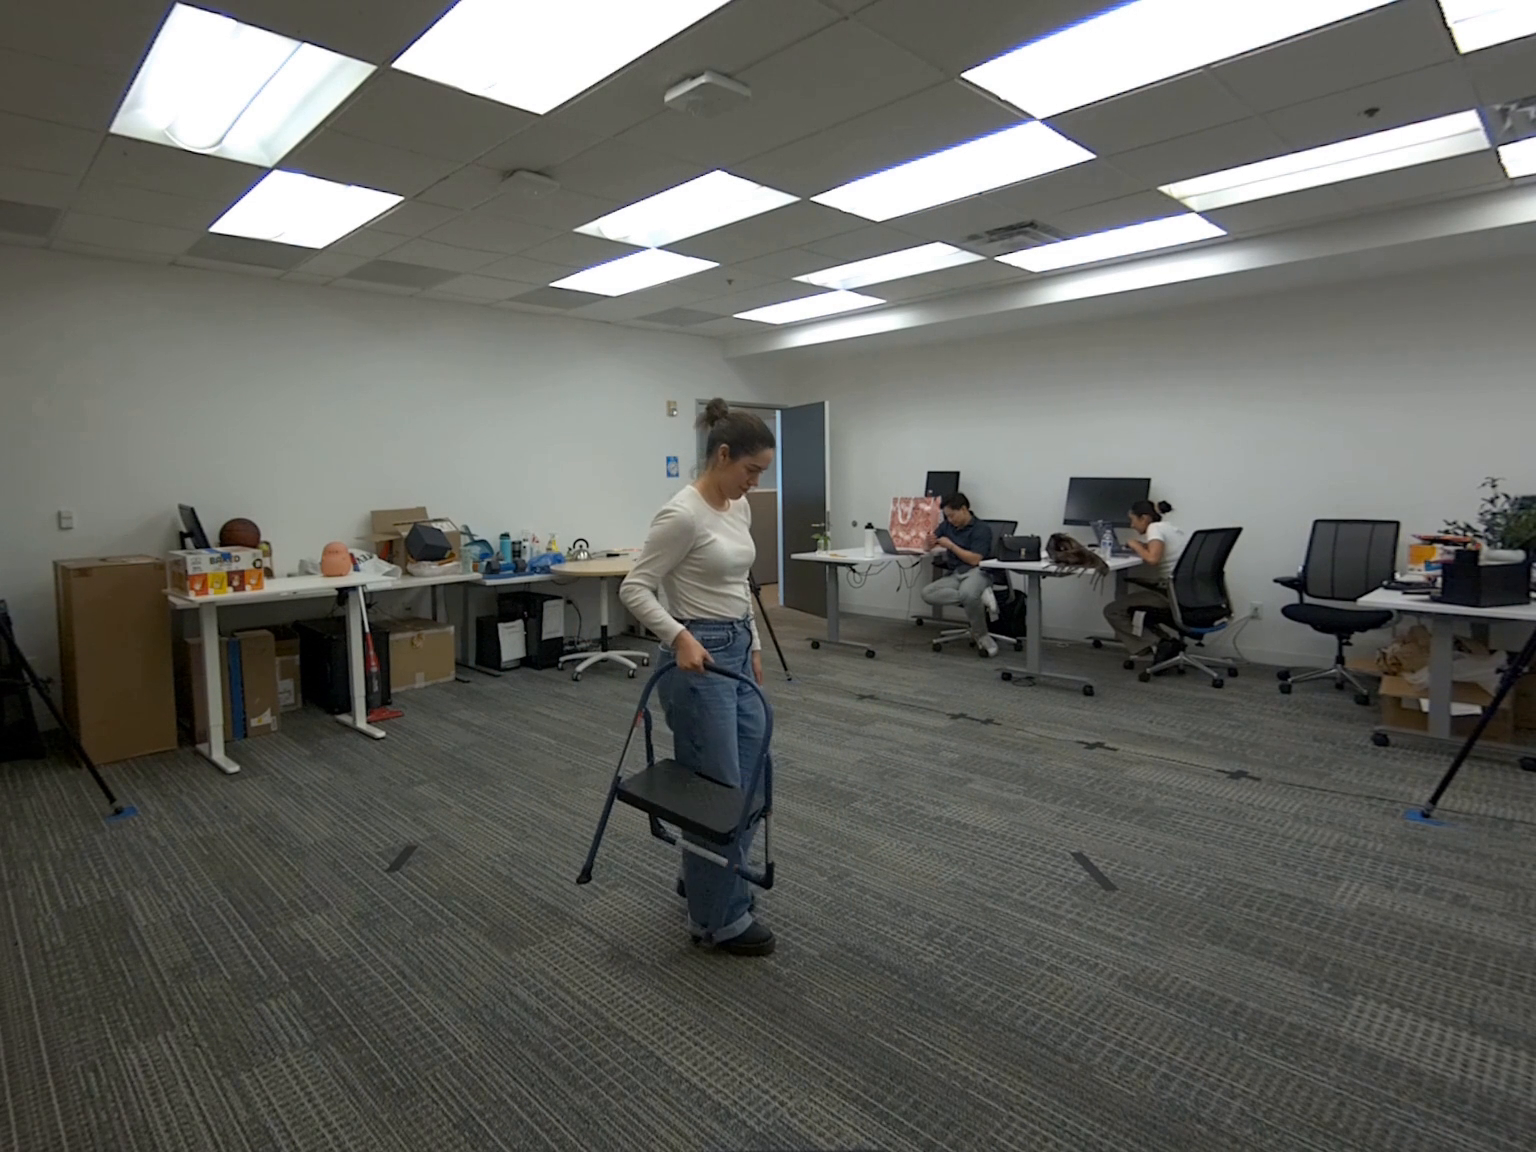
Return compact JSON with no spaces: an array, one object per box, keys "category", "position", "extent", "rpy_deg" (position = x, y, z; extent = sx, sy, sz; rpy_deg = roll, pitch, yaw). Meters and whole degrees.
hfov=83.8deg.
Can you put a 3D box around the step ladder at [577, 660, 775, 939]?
[{"category":"step ladder","position":[-0.200,0.552,2.260],"extent":[0.443,0.601,0.342],"rpy_deg":[14,12,28]}]
